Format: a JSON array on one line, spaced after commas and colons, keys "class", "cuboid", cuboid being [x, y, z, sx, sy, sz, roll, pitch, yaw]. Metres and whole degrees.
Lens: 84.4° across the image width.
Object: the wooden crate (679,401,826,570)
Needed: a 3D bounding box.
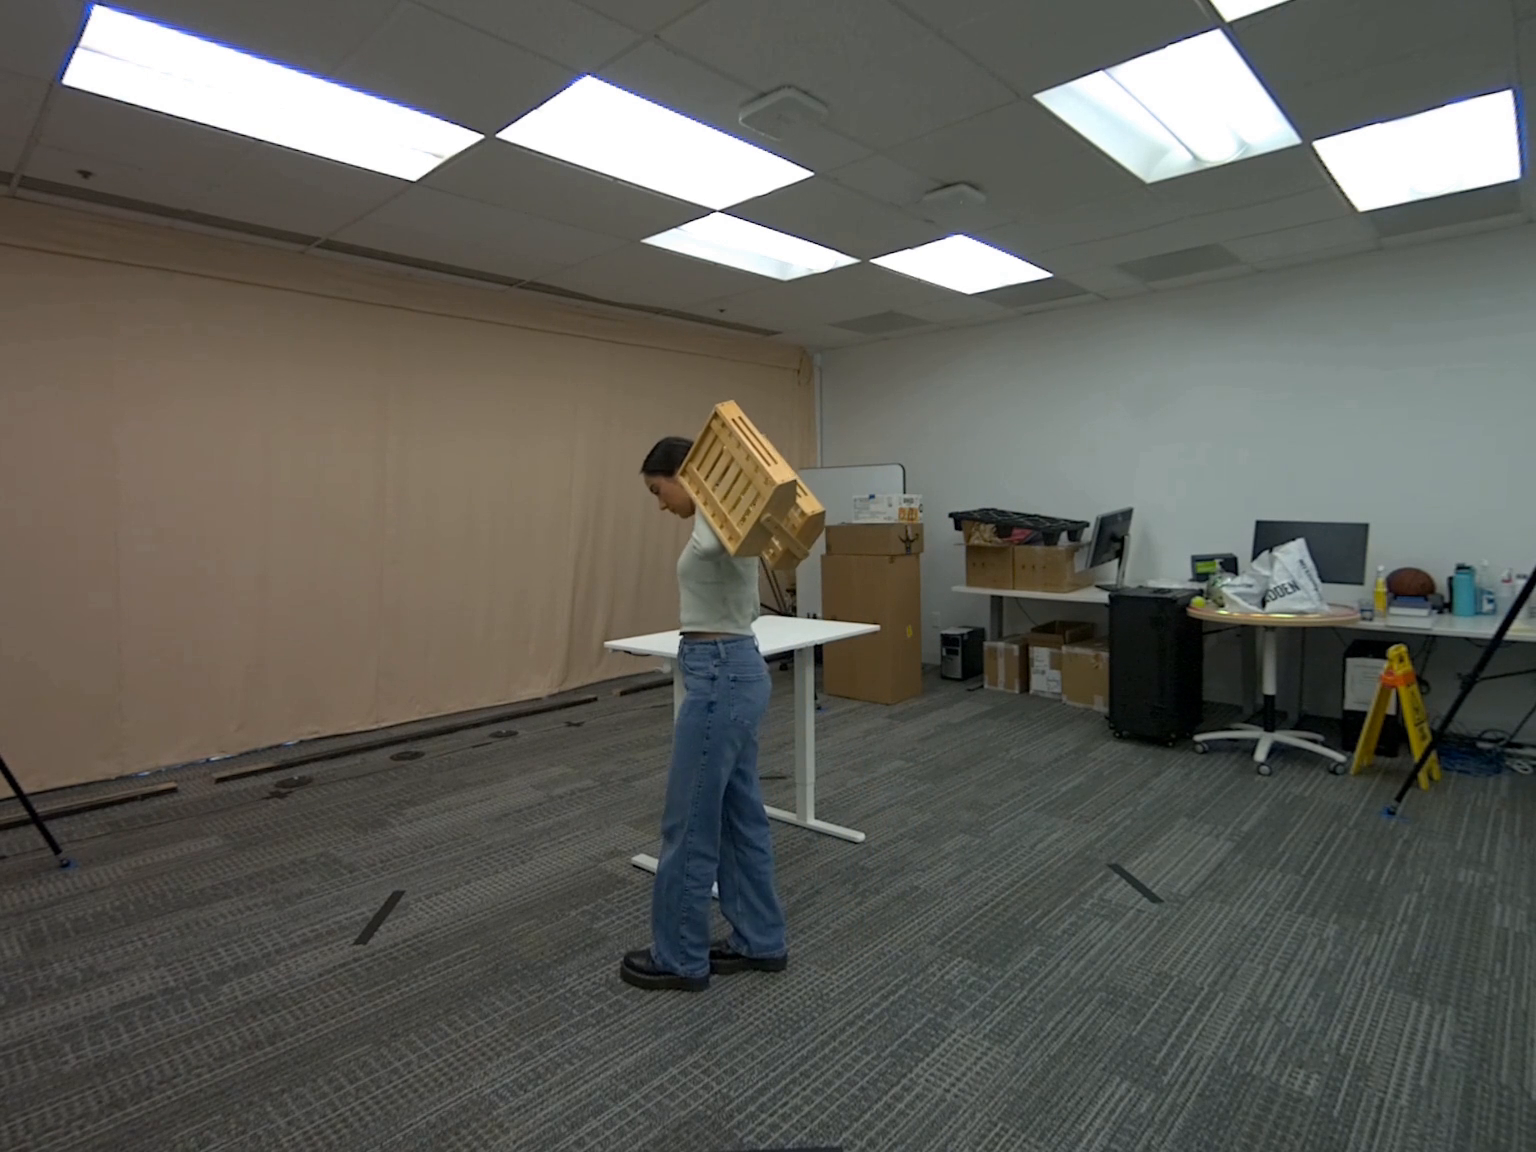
[{"class": "wooden crate", "cuboid": [-0.012, -0.224, 2.139, 0.264, 0.303, 0.334, 2, 44, -43]}]
